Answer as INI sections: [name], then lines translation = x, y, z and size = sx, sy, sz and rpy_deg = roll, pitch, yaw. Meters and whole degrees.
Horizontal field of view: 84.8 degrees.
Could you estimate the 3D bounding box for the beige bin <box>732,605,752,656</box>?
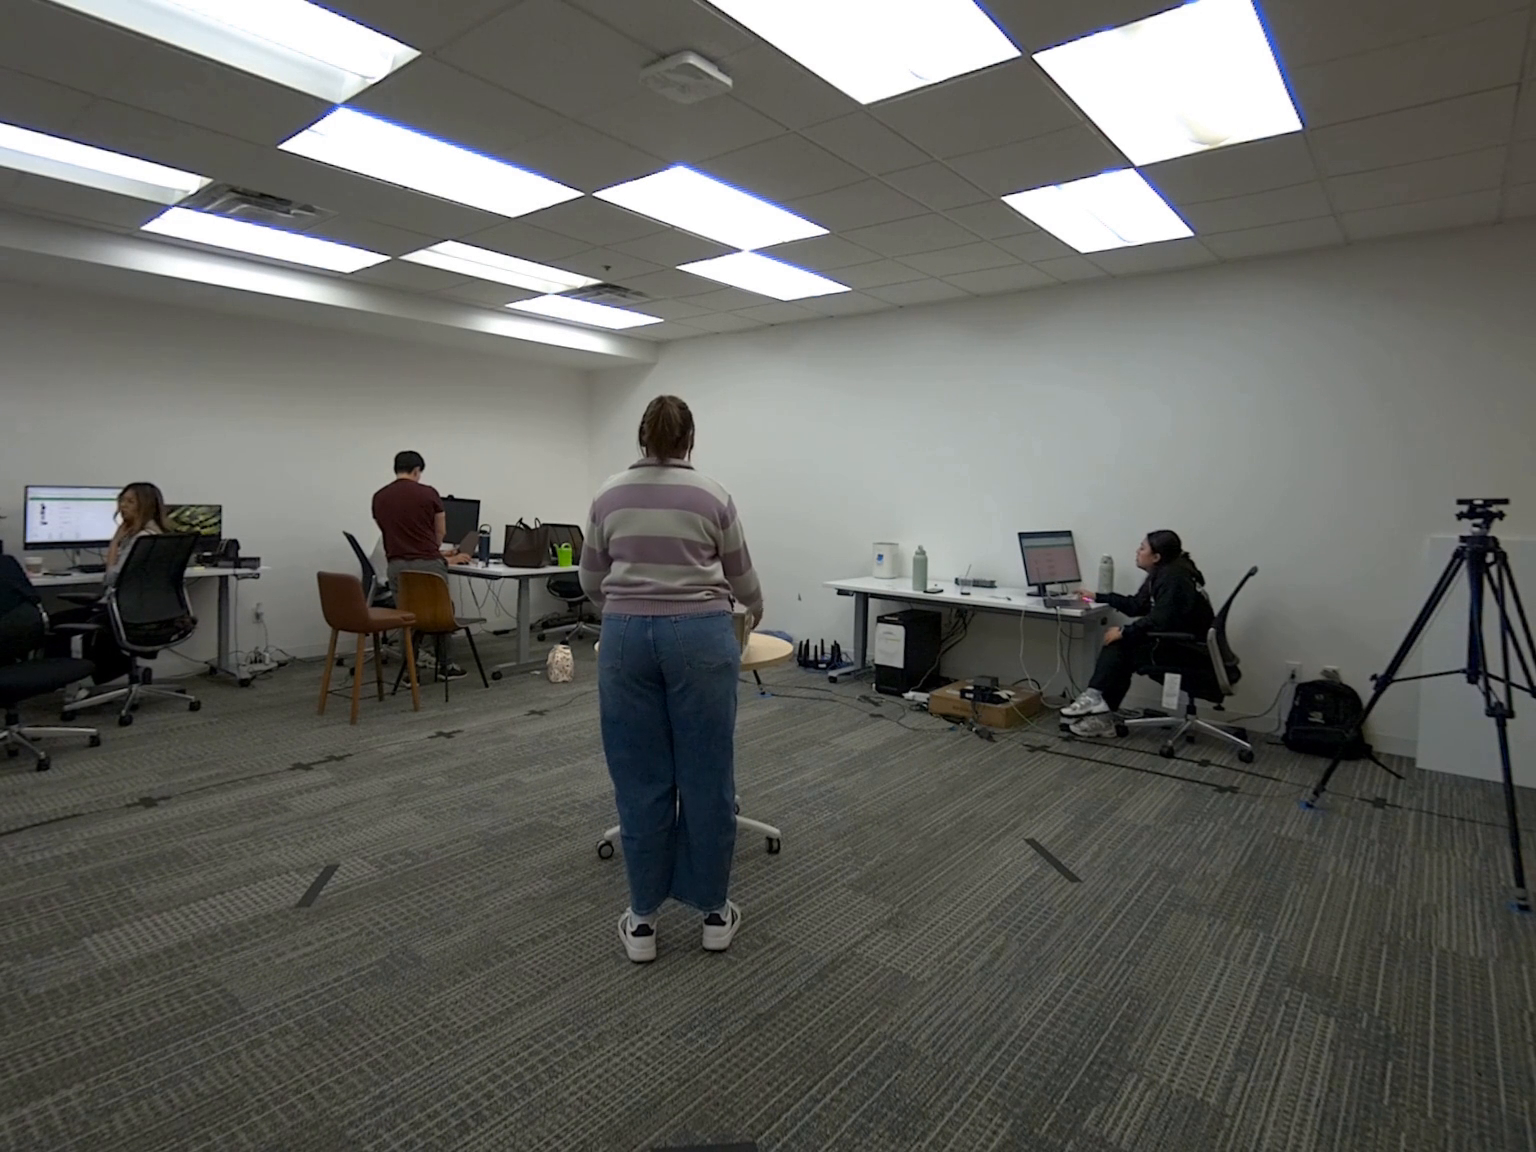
[beige bin]
translation = -0.288, 0.188, 3.166
size = 0.425, 0.188, 0.377
rpy_deg = 1, 6, 5
